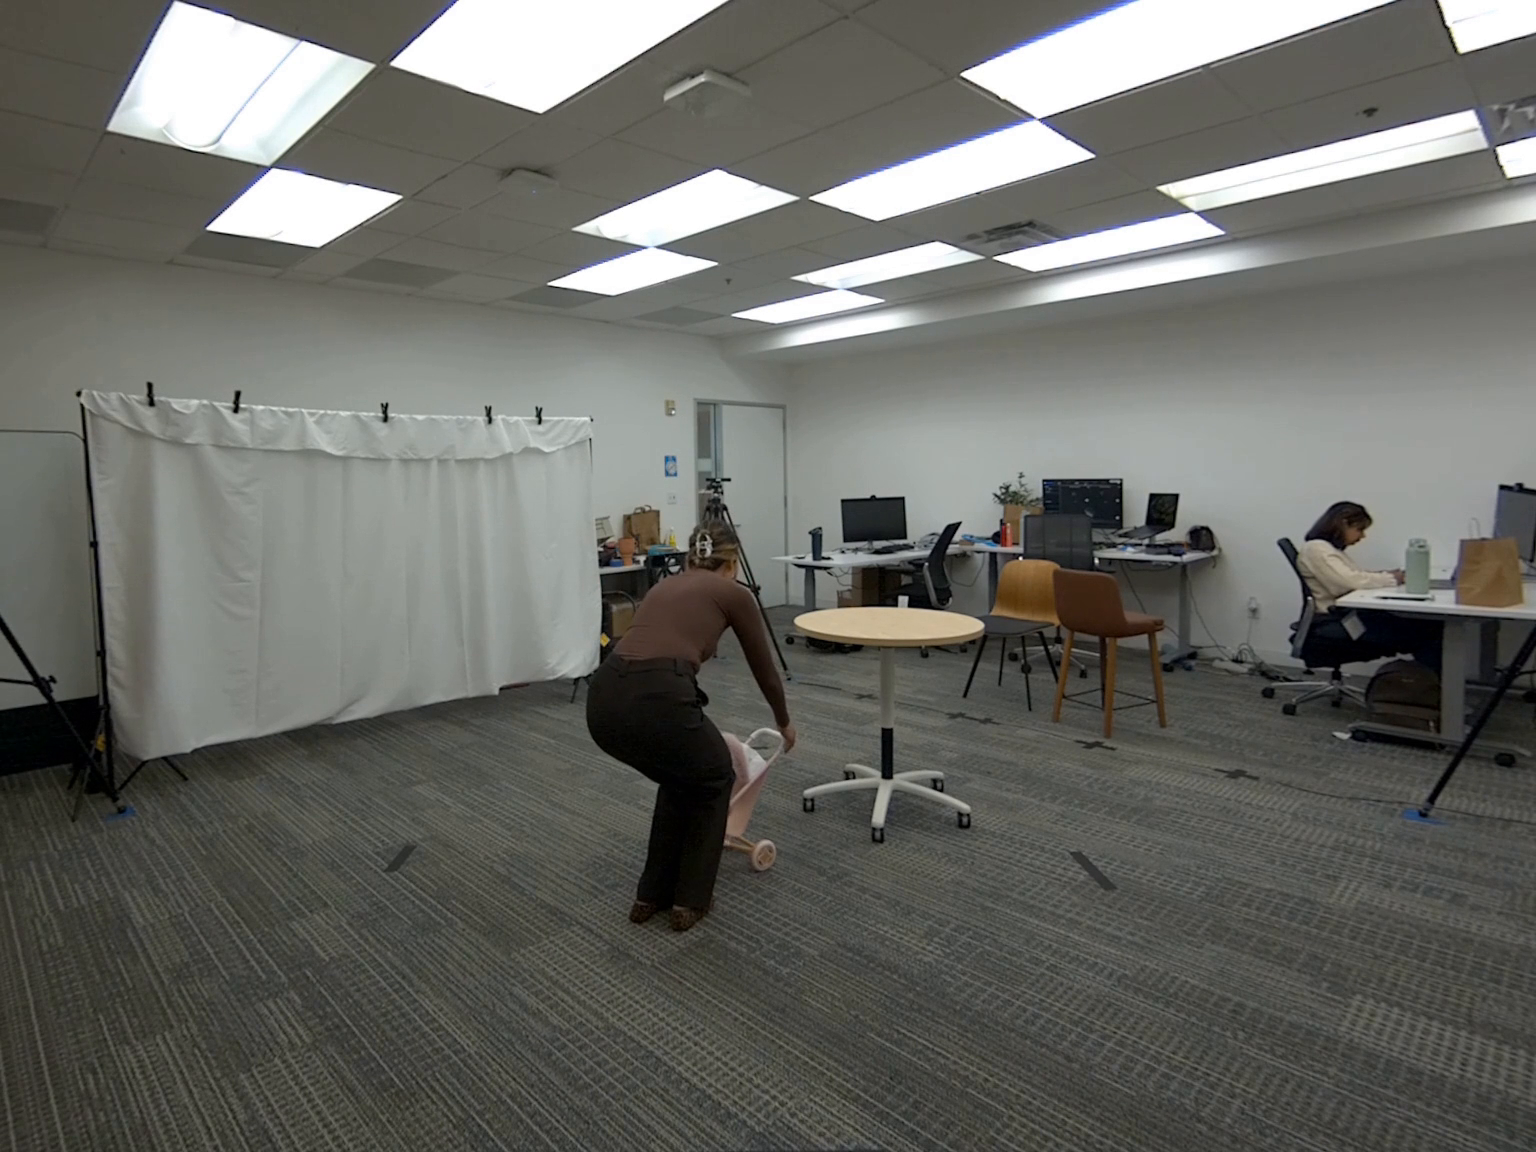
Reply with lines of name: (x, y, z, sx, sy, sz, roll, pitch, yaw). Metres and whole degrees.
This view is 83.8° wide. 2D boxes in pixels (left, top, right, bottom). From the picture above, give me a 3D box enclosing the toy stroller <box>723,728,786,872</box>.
toy stroller: (-0.145, 0.809, 3.102, 0.331, 0.536, 0.289, 13, -3, -30)
